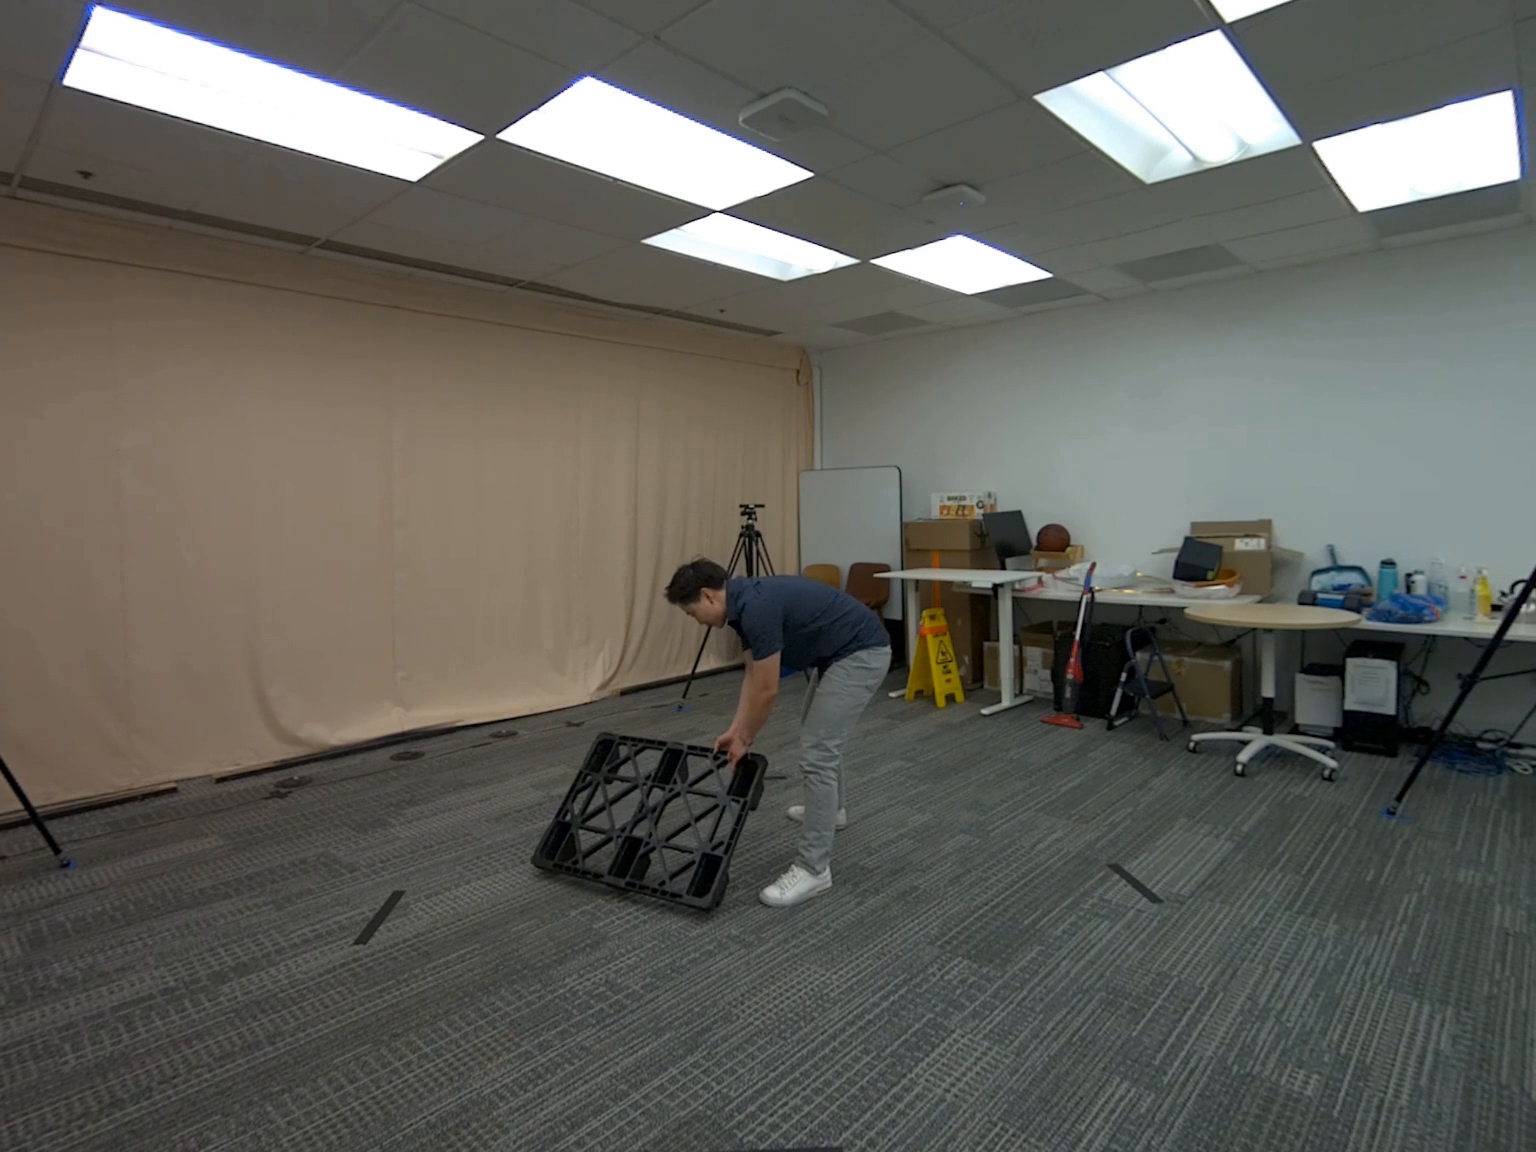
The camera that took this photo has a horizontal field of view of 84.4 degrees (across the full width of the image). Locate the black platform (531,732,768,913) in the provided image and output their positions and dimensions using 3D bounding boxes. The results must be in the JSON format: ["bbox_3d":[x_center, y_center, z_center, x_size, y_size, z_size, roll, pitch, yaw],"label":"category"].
[{"bbox_3d":[-0.435,0.923,3.212,0.828,0.139,0.606,1,46,29],"label":"black platform"}]
